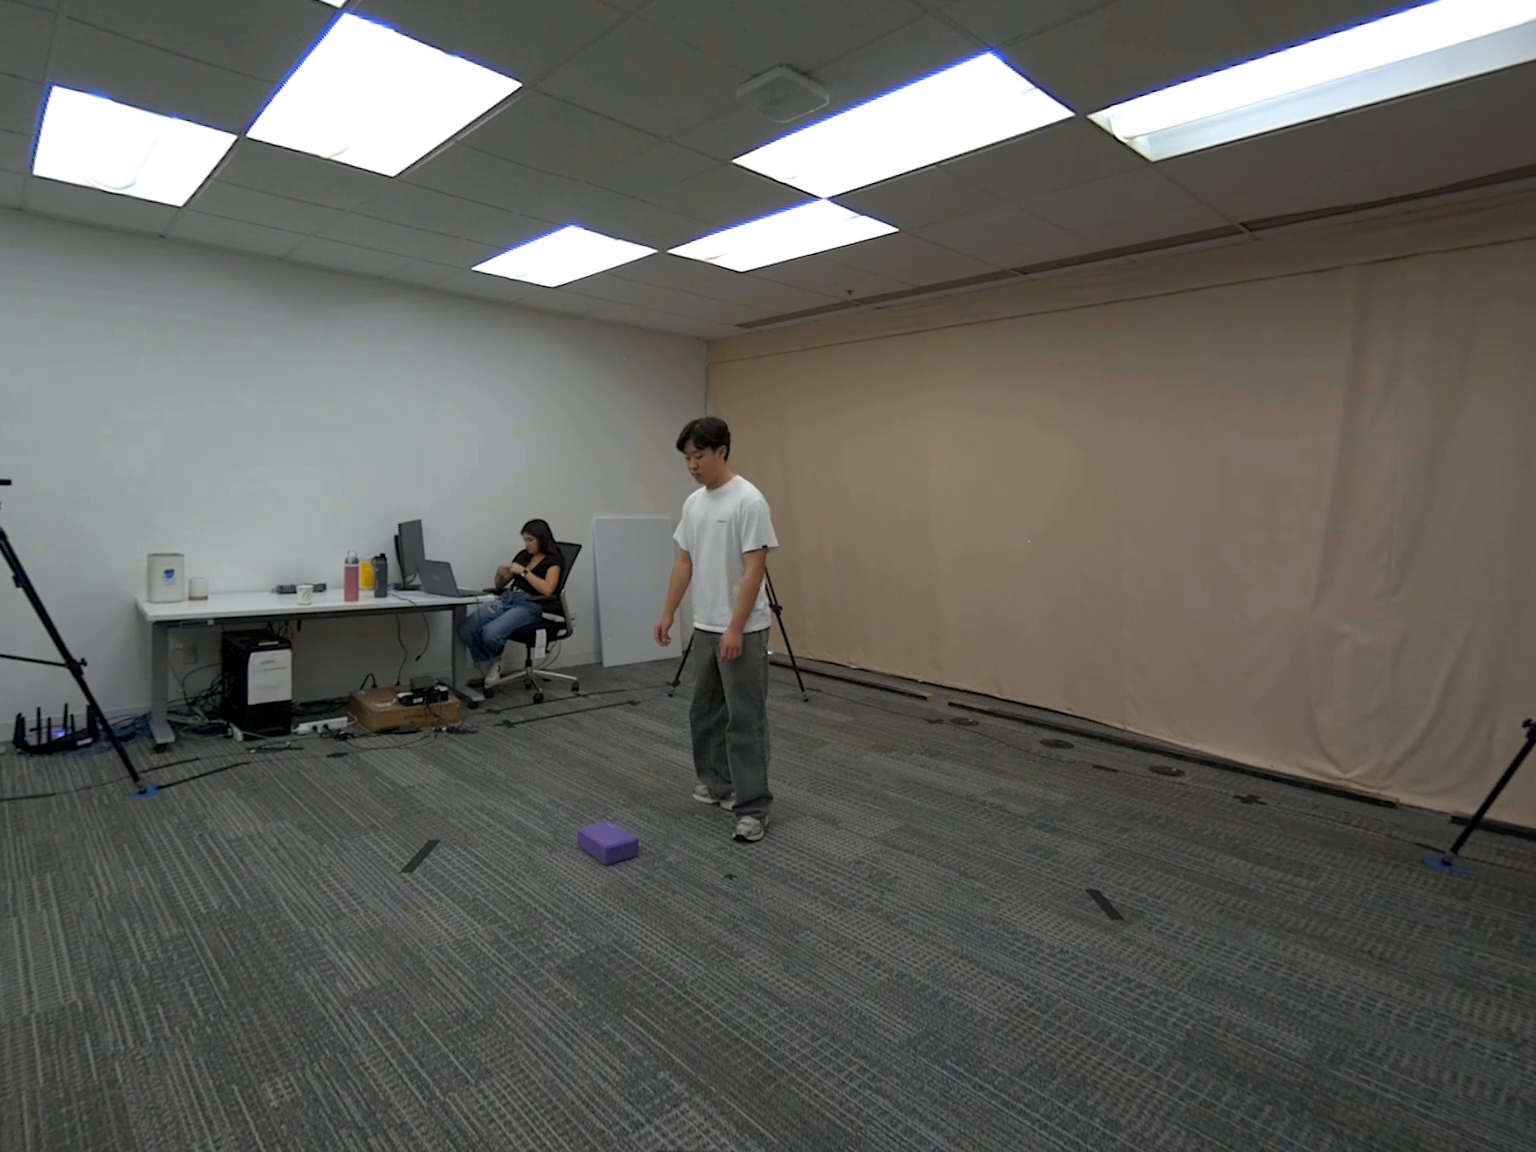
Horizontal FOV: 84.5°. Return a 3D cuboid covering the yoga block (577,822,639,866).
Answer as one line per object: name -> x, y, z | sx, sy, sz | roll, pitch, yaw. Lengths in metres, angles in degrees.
yoga block -> -0.635, 1.045, 3.284 | 0.145, 0.076, 0.235 | -3, 6, -41
